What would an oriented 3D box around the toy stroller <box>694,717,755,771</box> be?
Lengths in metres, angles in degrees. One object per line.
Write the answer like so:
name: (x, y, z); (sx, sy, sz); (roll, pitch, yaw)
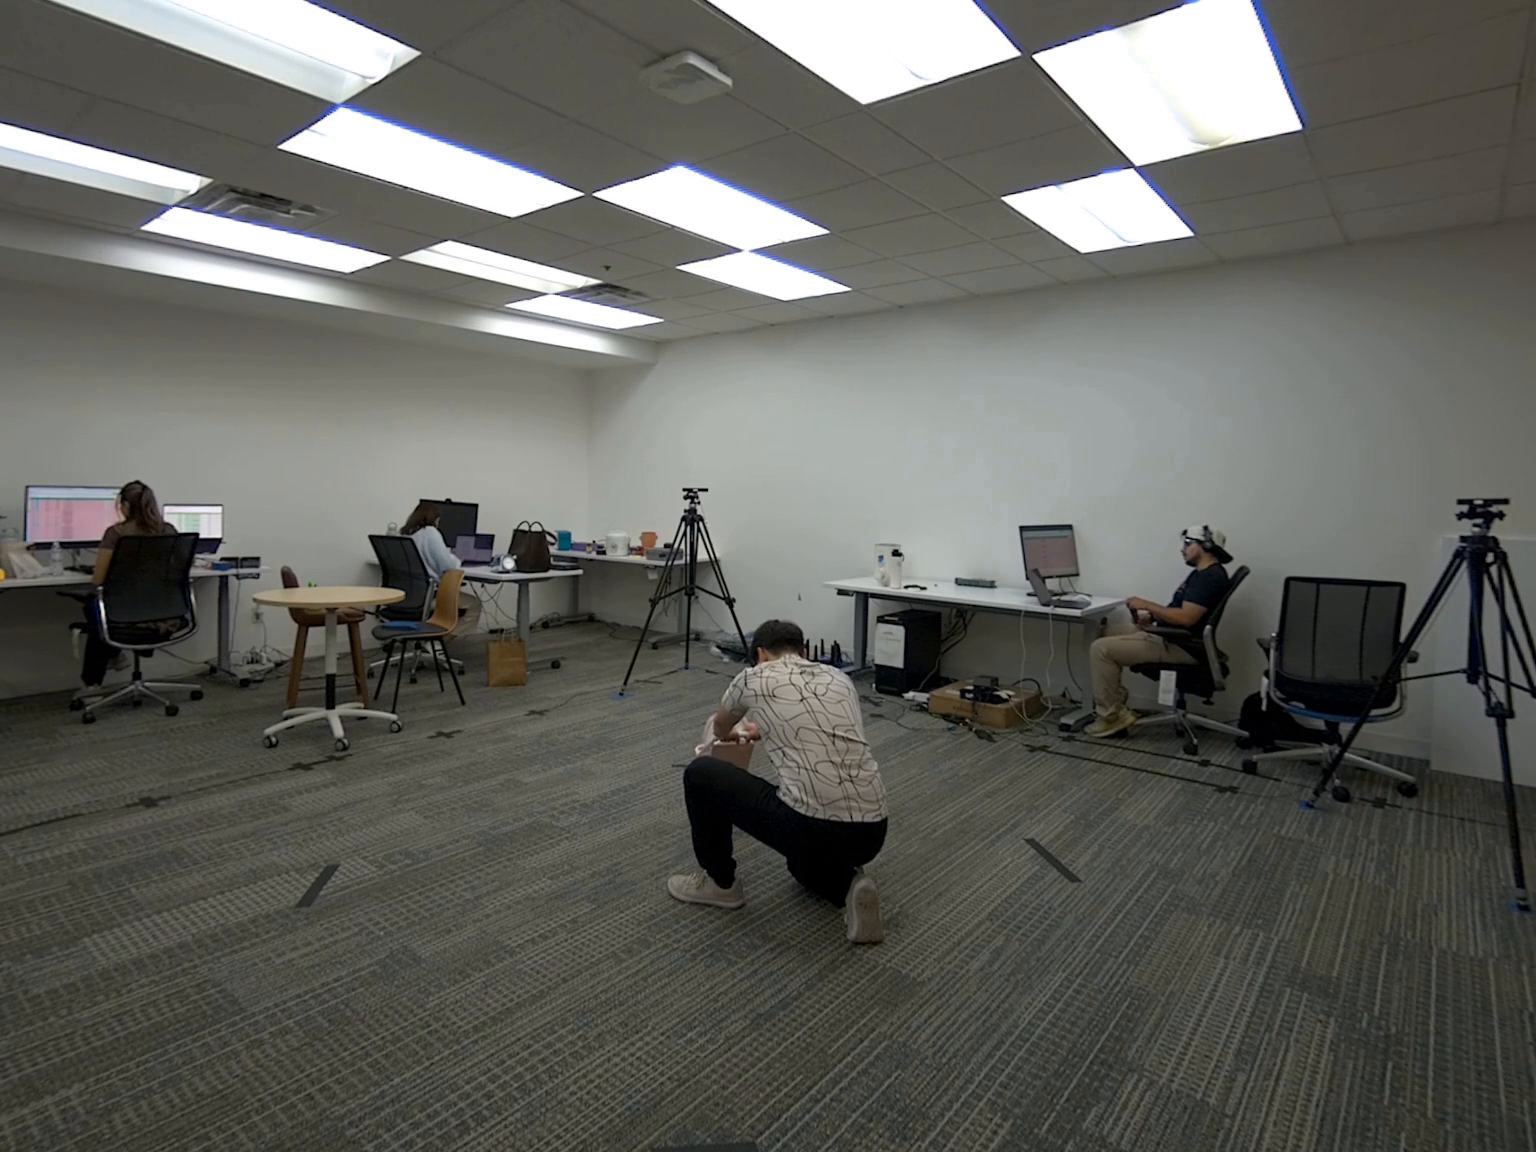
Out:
toy stroller: (-0.190, 0.792, 3.614); (0.277, 0.526, 0.352); (0, 20, -16)
